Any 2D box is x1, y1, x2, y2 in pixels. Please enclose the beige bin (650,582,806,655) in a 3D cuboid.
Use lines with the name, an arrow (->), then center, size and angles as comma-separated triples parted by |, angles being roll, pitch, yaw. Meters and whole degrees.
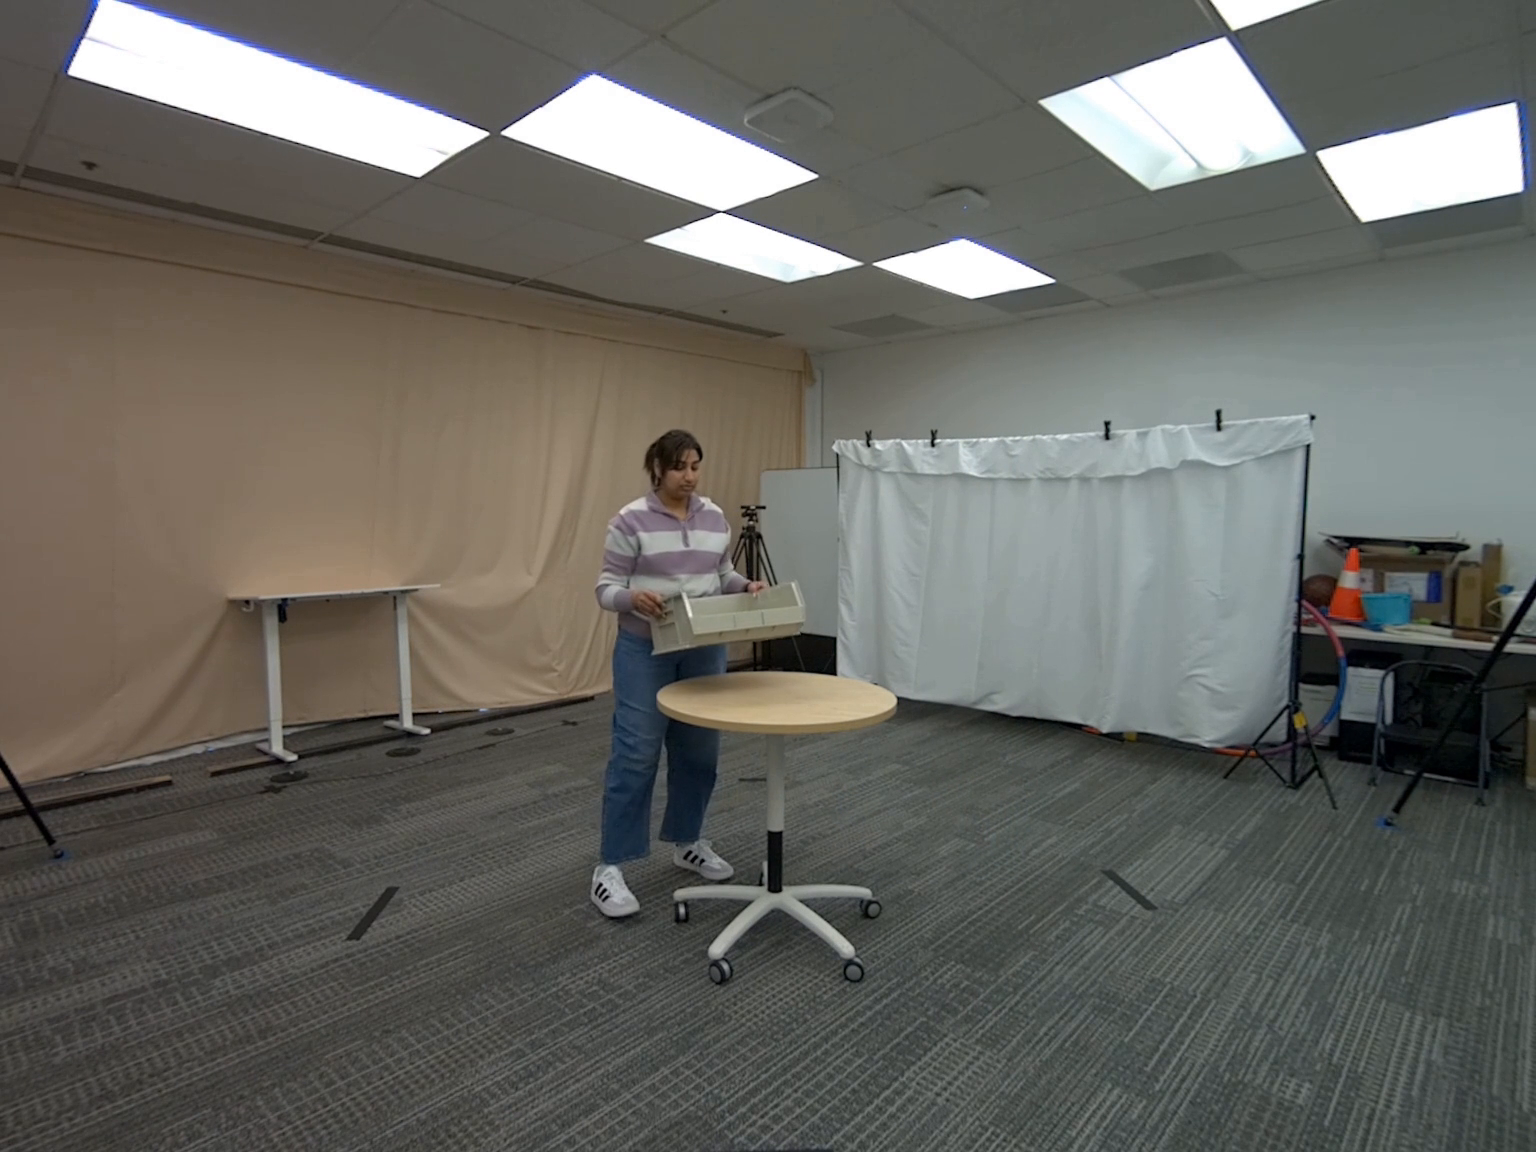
beige bin -> -0.147, 0.140, 2.813 | 0.412, 0.190, 0.384 | -5, -7, -28
